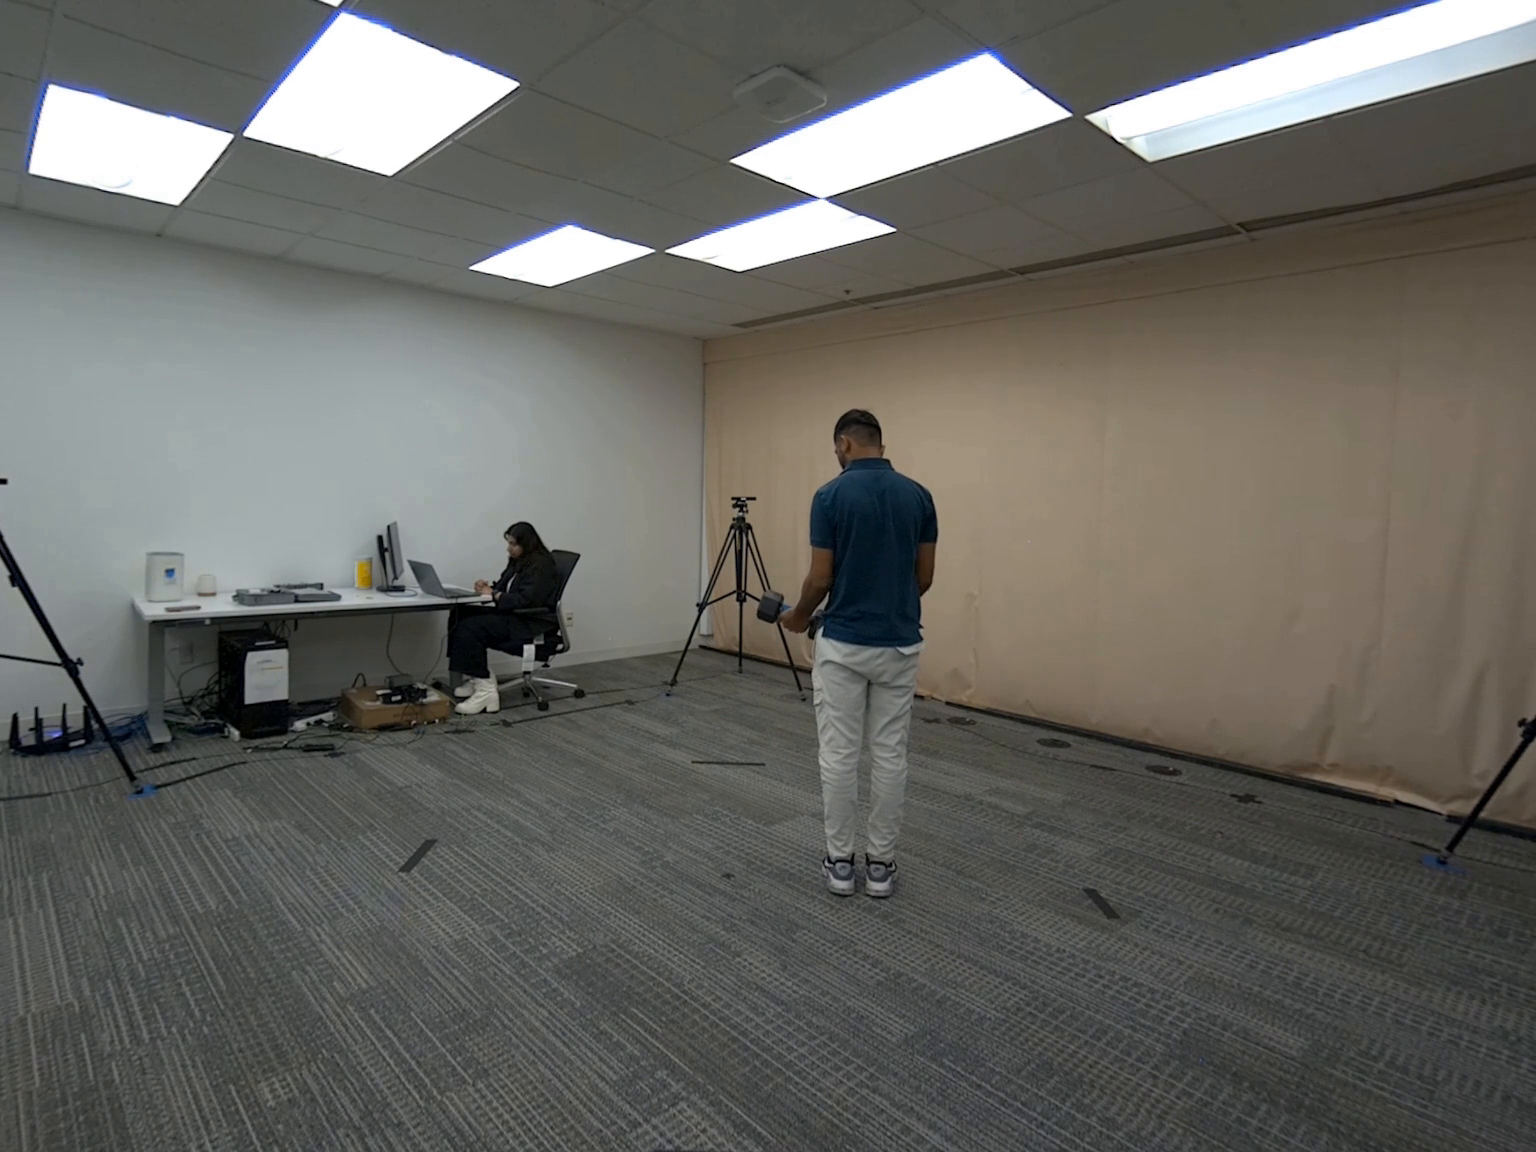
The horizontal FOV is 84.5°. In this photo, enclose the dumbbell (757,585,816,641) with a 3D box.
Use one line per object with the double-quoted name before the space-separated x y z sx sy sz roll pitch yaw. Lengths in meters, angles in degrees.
"dumbbell" 0.120 0.151 3.246 0.295 0.110 0.121 15 -37 5
